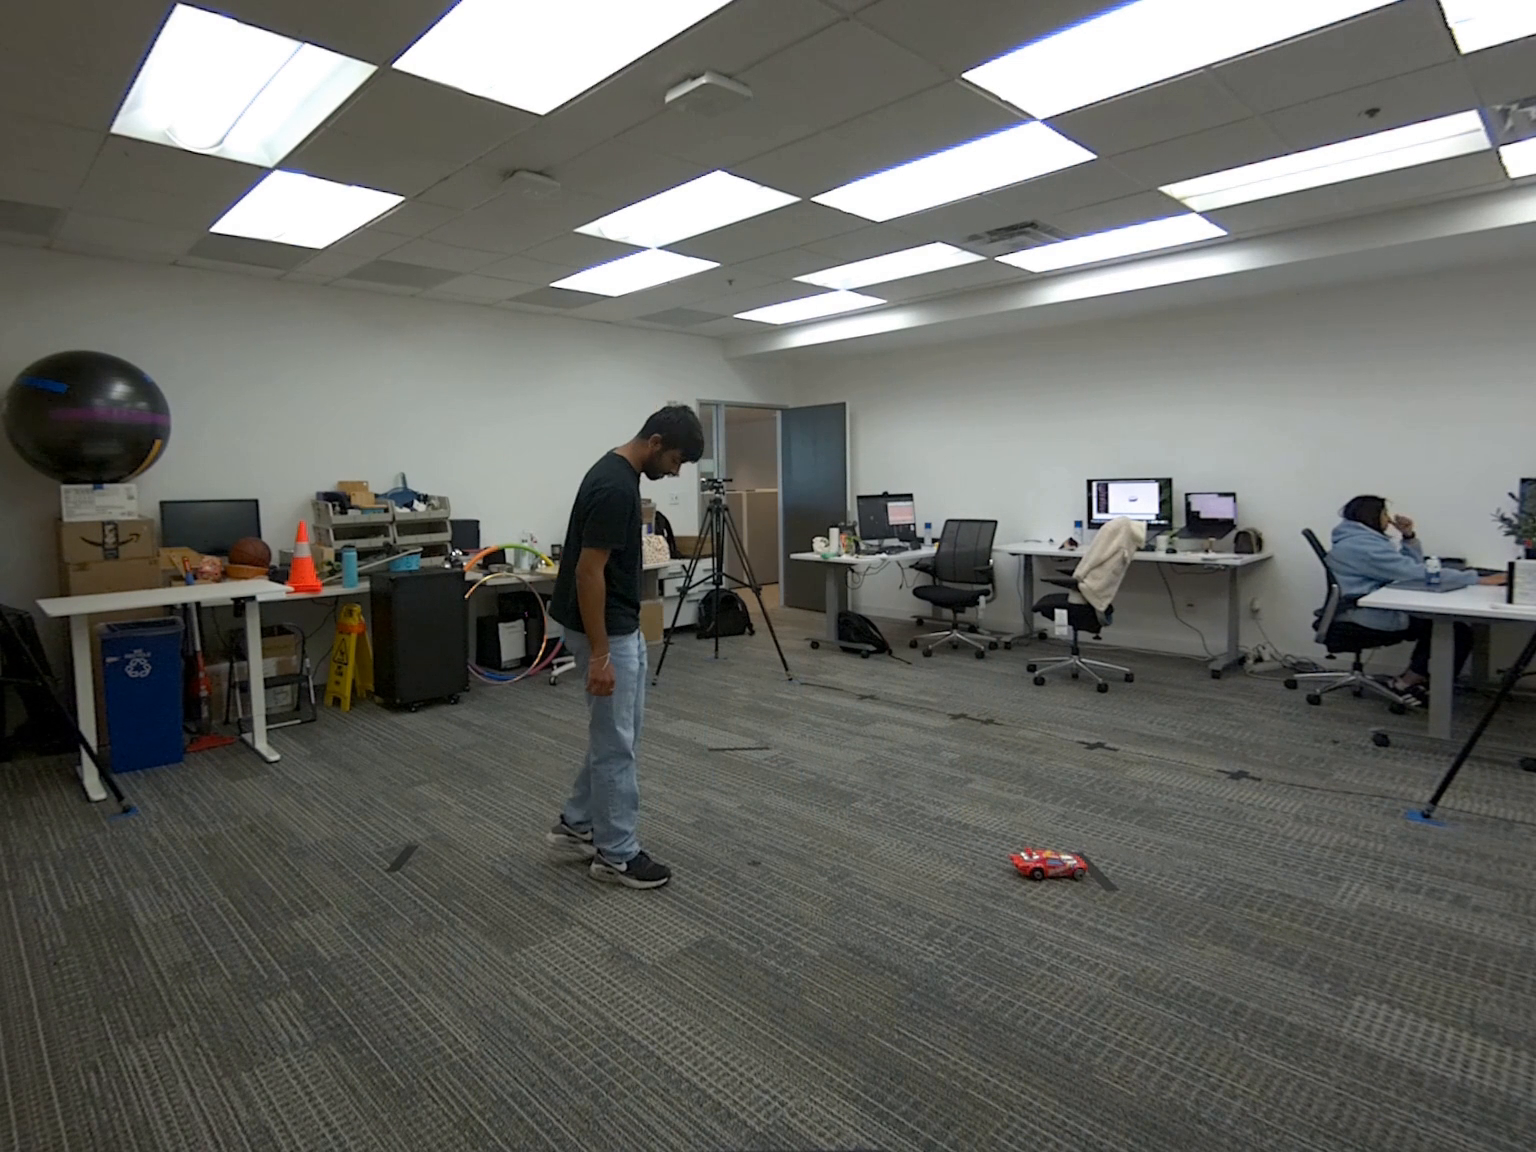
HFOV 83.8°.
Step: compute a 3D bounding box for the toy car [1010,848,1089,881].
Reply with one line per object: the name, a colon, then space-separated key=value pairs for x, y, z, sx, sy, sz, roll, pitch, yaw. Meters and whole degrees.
toy car: x=0.973 y=1.005 z=2.976 sx=0.254 sy=0.083 sz=0.131 roll=10 pitch=6 yaw=-1
